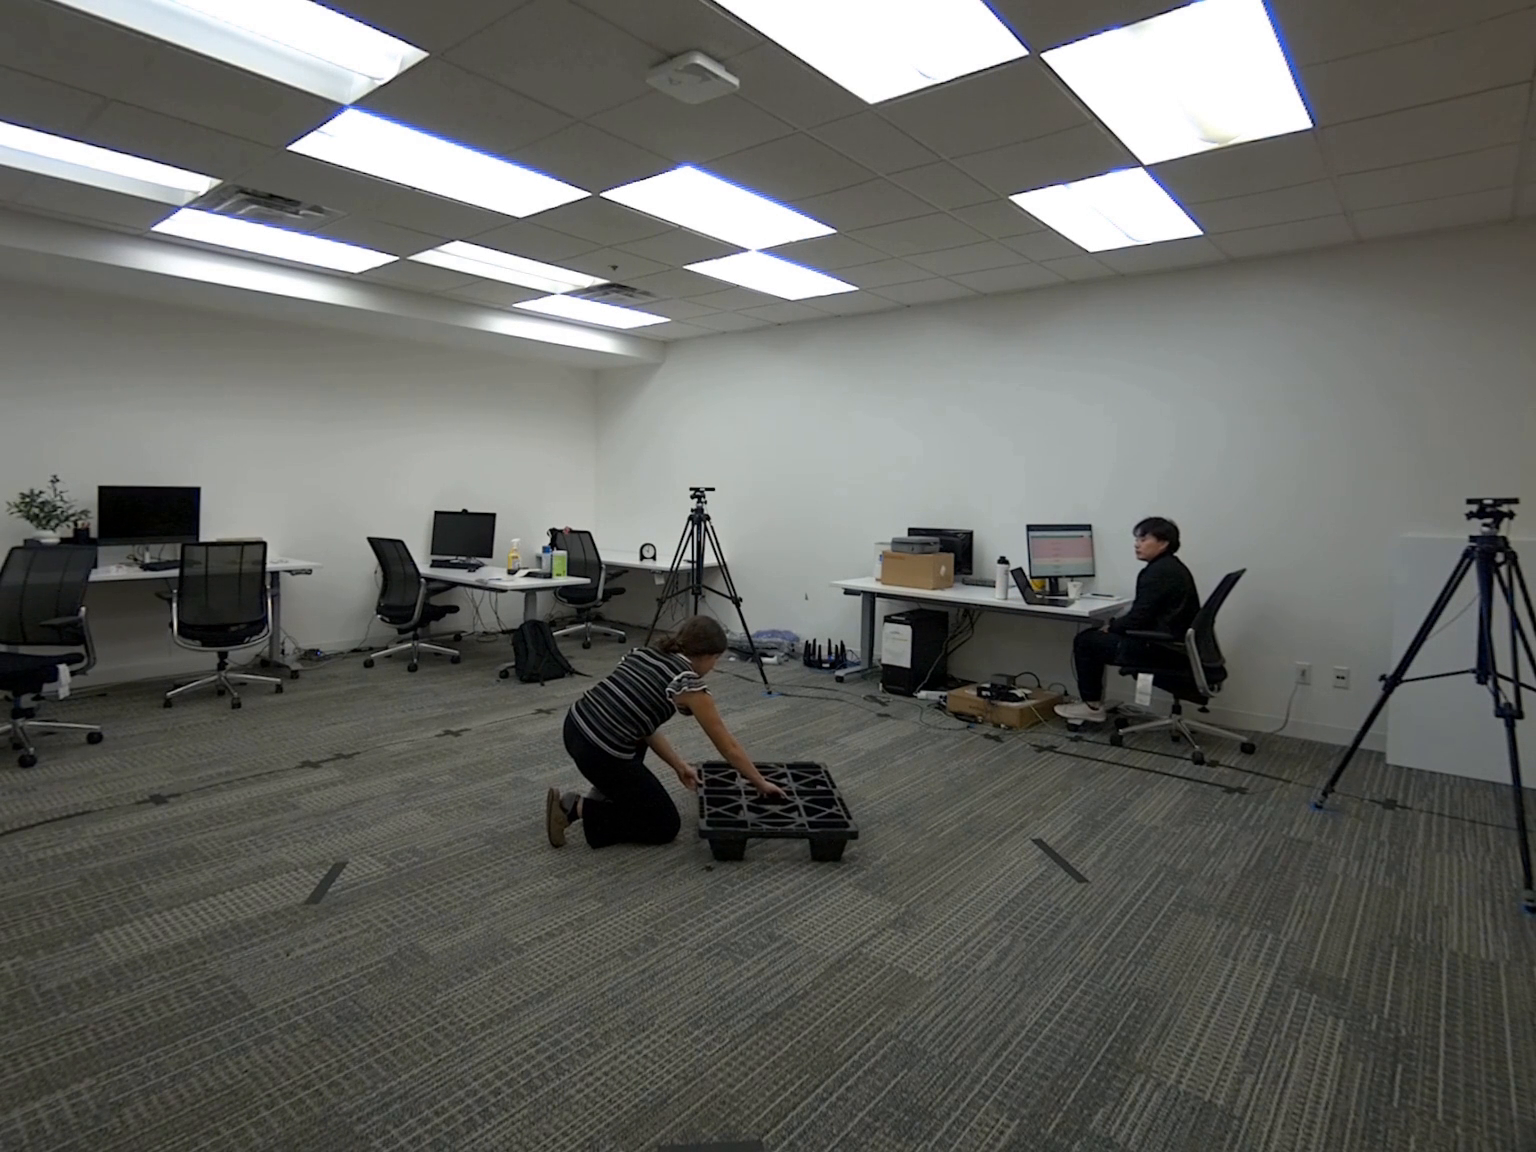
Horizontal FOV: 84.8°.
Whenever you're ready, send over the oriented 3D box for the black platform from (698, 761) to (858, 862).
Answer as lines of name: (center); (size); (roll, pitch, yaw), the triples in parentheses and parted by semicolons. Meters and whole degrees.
black platform: (-0.003, 0.964, 3.544); (0.603, 0.143, 0.812); (1, 6, -4)
